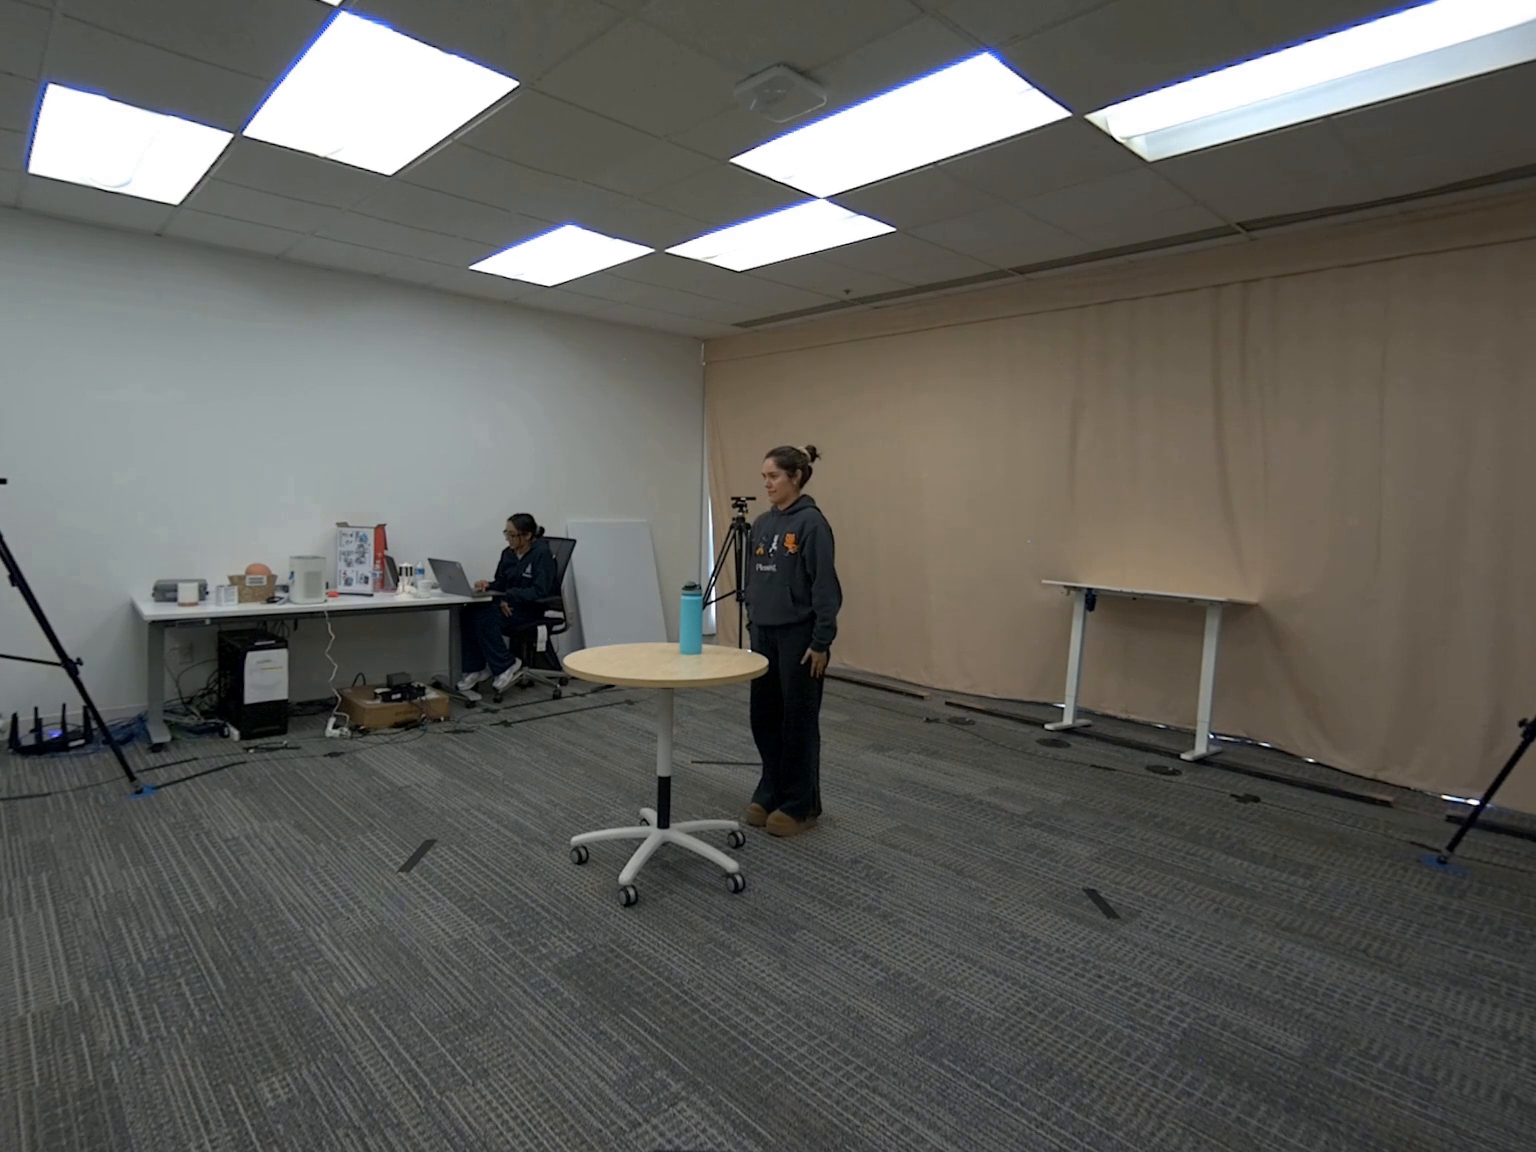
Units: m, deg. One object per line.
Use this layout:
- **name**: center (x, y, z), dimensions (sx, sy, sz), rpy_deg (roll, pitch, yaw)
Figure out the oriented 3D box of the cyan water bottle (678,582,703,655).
- **cyan water bottle**: center (-0.314, 0.163, 3.316), dimensions (0.092, 0.283, 0.092), rpy_deg (1, 0, -1)
